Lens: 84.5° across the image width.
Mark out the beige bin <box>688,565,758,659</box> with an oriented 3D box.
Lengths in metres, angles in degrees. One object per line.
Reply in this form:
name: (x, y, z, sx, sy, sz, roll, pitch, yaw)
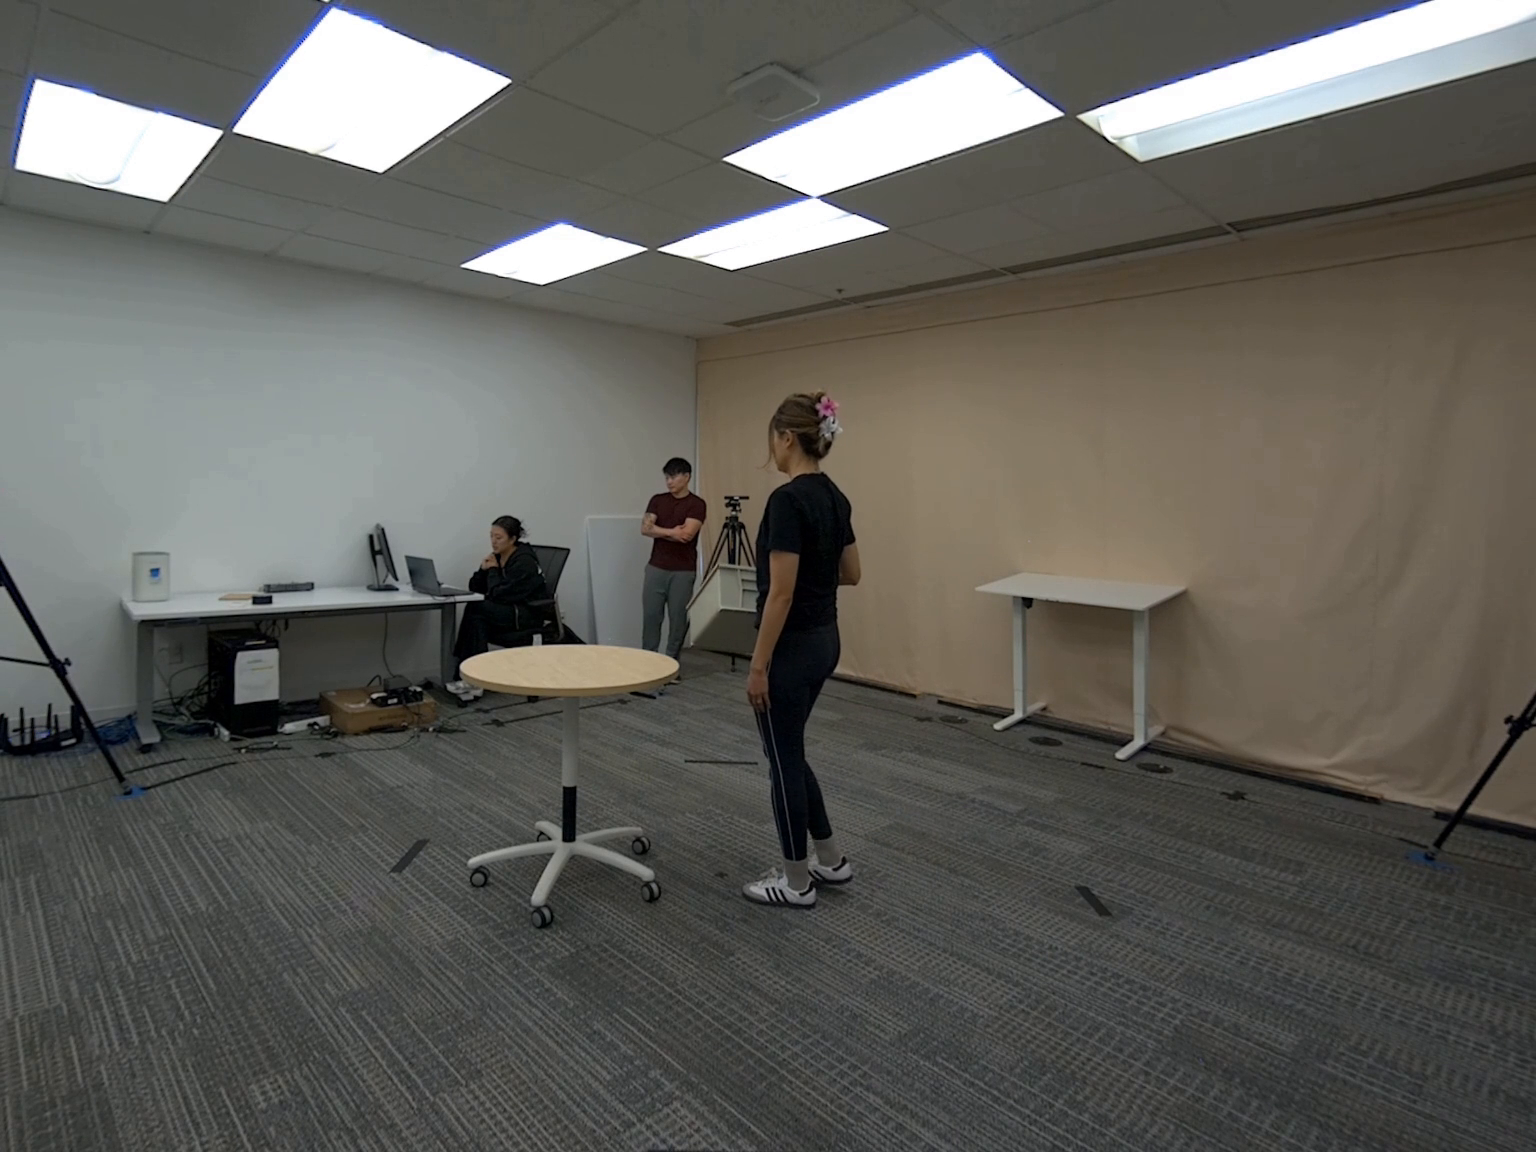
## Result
beige bin: (-0.089, 0.142, 3.287, 0.371, 0.192, 0.421, 6, -27, -19)
